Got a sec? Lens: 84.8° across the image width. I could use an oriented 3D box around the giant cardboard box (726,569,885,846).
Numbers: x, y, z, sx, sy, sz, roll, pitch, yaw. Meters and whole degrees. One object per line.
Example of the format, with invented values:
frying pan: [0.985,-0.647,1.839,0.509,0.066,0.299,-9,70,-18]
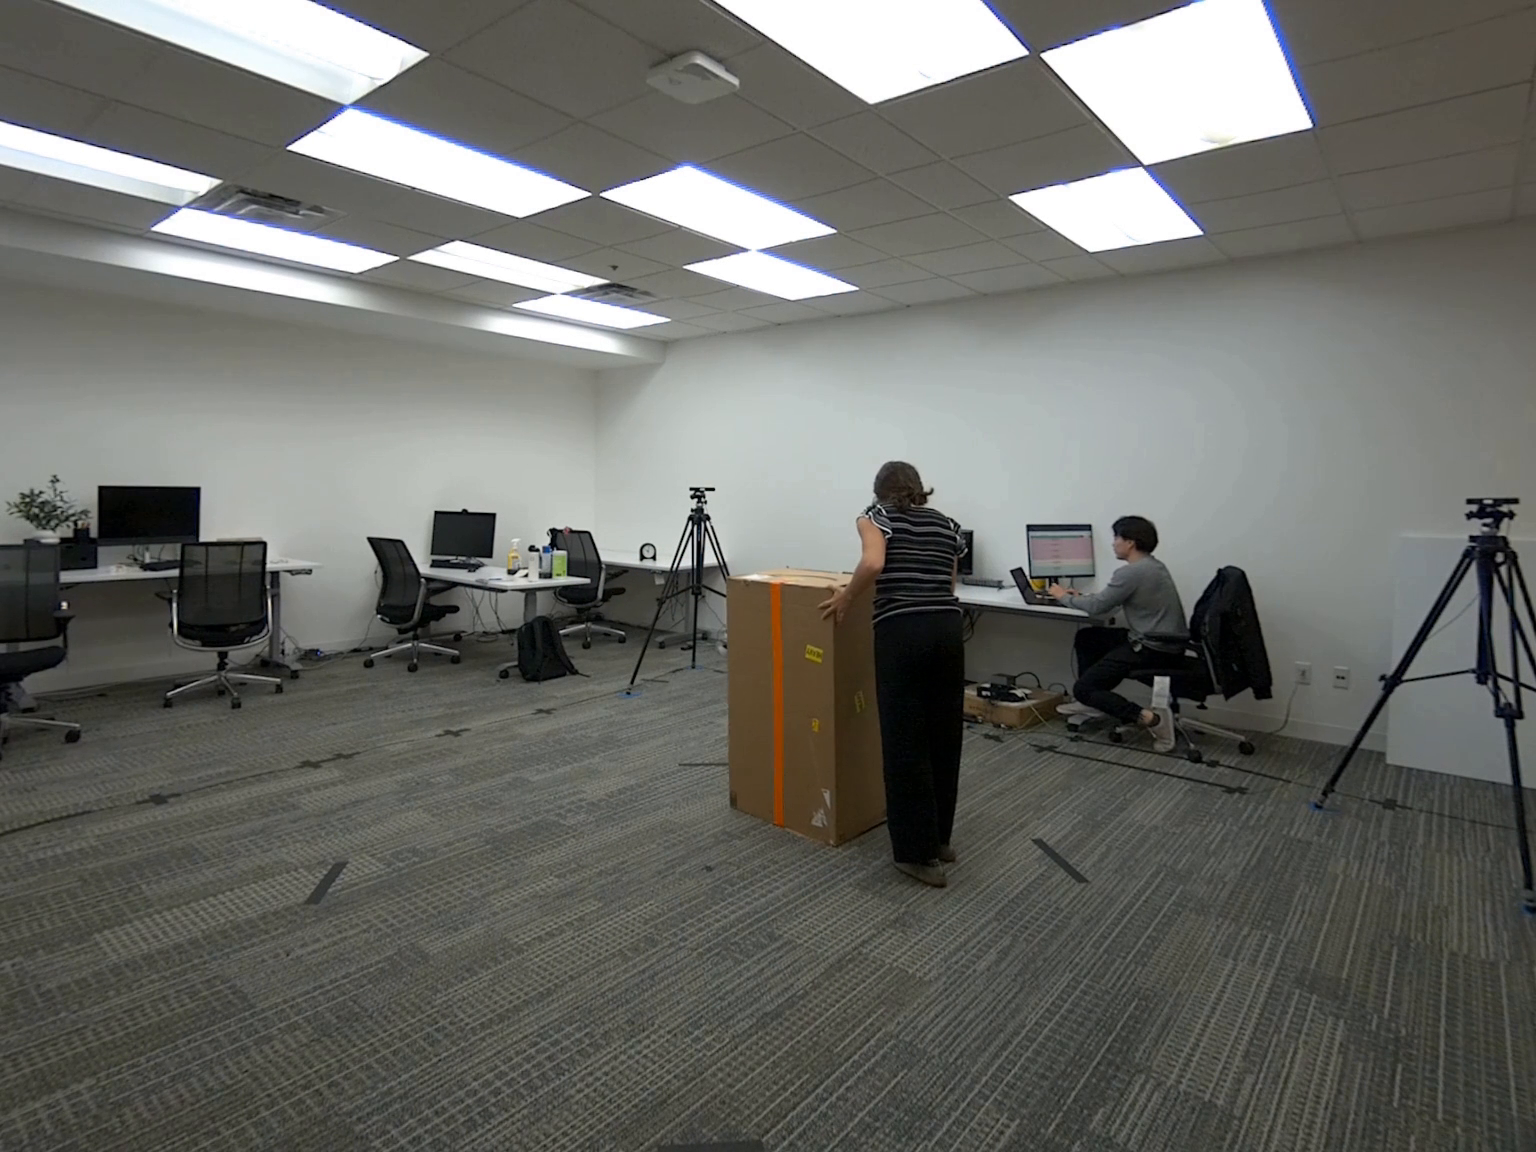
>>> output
giant cardboard box: [0.165,0.513,3.632,0.597,1.021,0.414,4,6,43]
